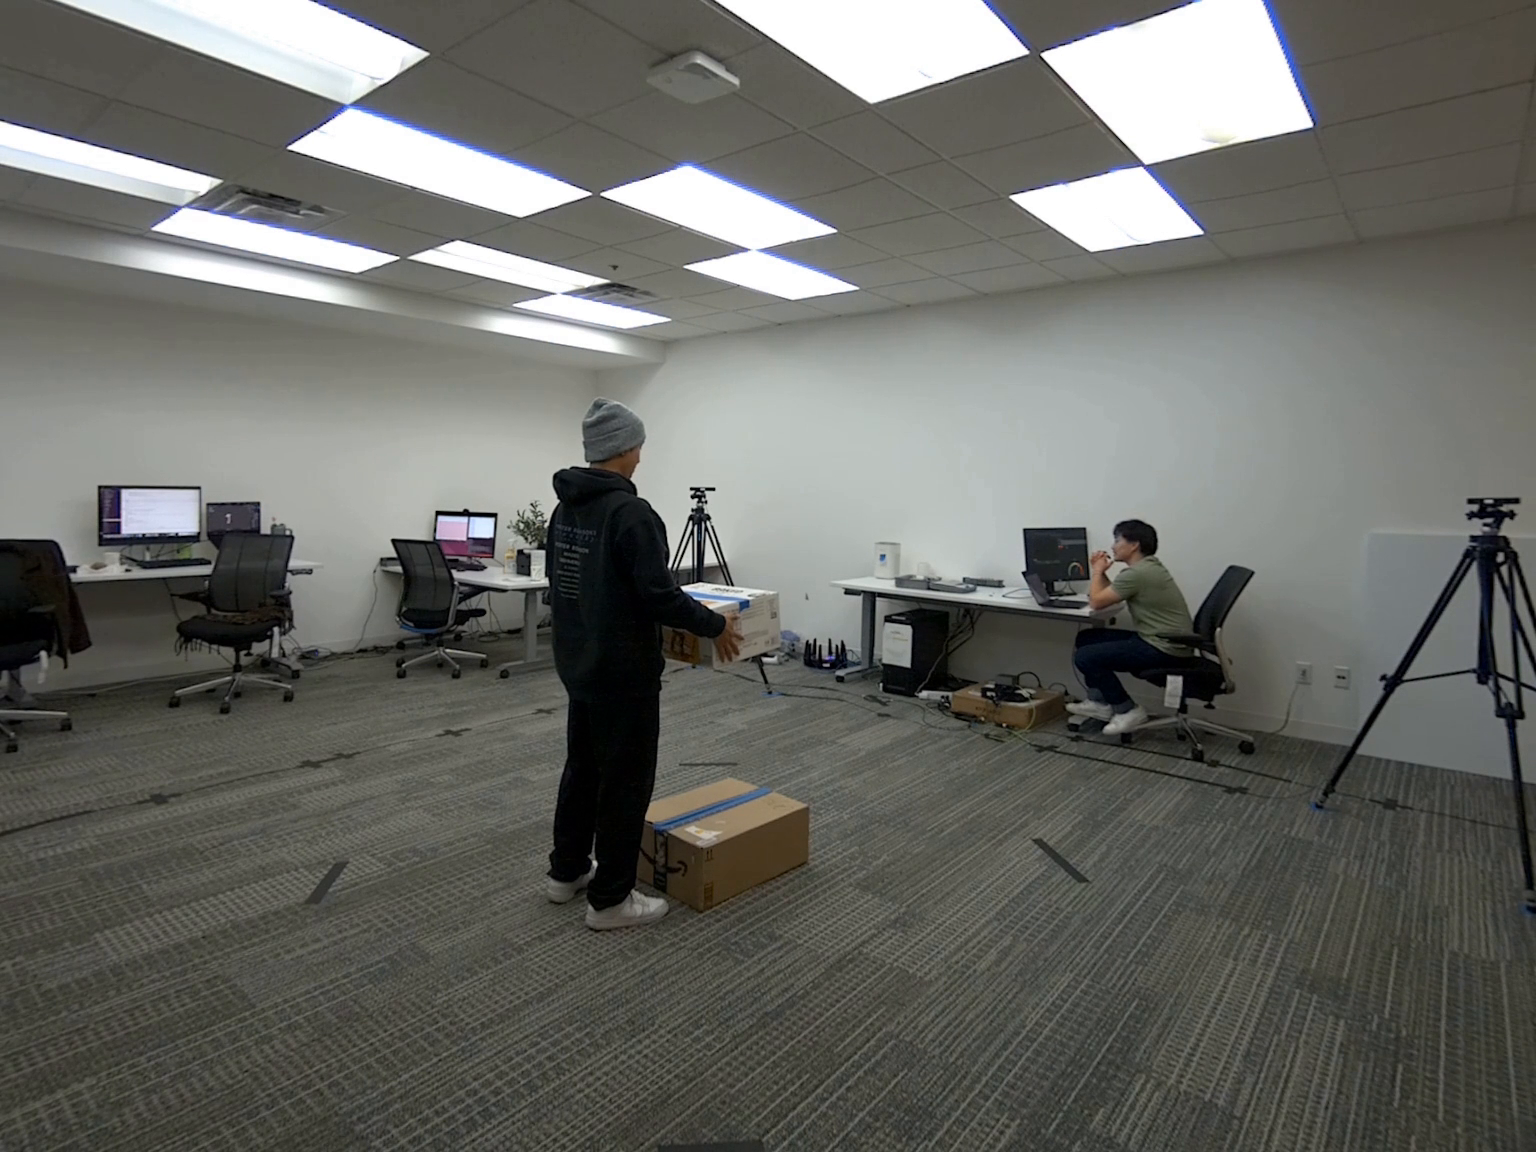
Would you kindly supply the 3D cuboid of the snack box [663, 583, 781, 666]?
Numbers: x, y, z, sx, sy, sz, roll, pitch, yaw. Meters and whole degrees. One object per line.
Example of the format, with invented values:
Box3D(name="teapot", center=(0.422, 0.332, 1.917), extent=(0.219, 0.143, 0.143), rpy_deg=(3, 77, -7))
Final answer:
Box3D(name="snack box", center=(-0.230, 0.165, 3.041), extent=(0.419, 0.204, 0.332), rpy_deg=(5, 13, 44))
